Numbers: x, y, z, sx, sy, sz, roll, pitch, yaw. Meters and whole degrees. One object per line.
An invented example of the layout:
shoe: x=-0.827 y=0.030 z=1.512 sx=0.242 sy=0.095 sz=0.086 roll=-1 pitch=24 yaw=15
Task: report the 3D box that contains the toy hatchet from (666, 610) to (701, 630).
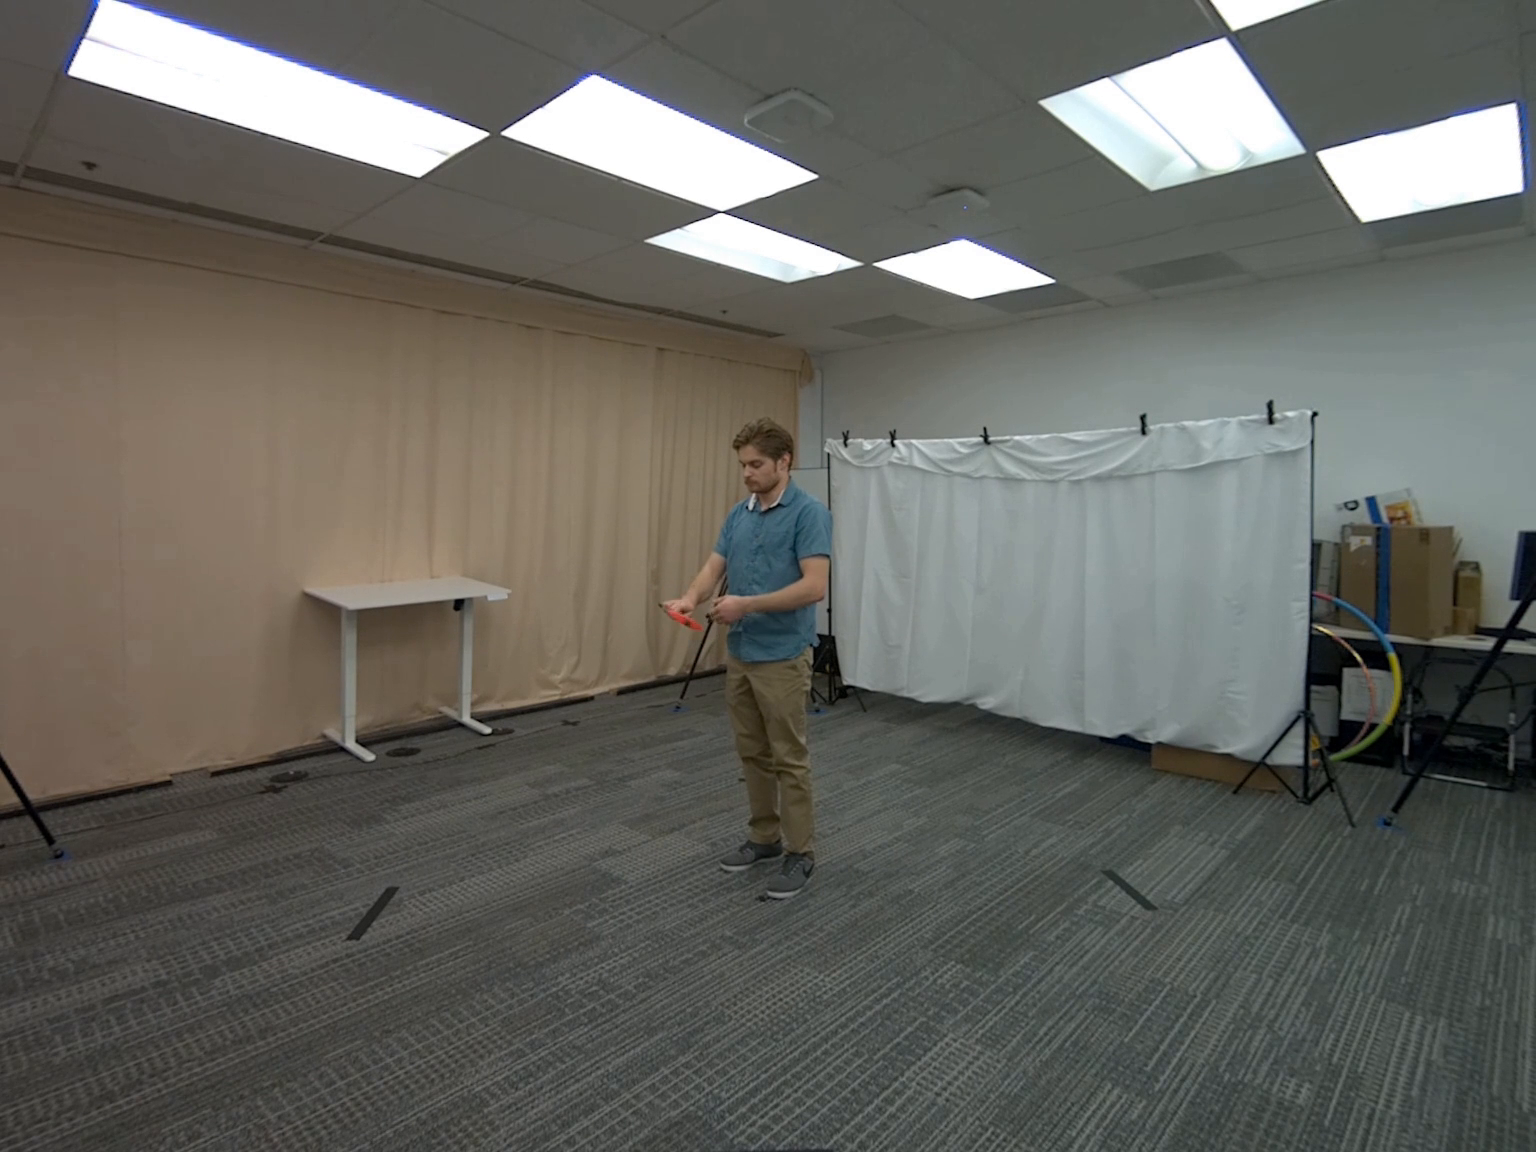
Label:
toy hatchet: x=-0.332 y=0.129 z=2.896 sx=0.126 sy=0.029 sz=0.279 roll=28 pitch=-3 yaw=-37
